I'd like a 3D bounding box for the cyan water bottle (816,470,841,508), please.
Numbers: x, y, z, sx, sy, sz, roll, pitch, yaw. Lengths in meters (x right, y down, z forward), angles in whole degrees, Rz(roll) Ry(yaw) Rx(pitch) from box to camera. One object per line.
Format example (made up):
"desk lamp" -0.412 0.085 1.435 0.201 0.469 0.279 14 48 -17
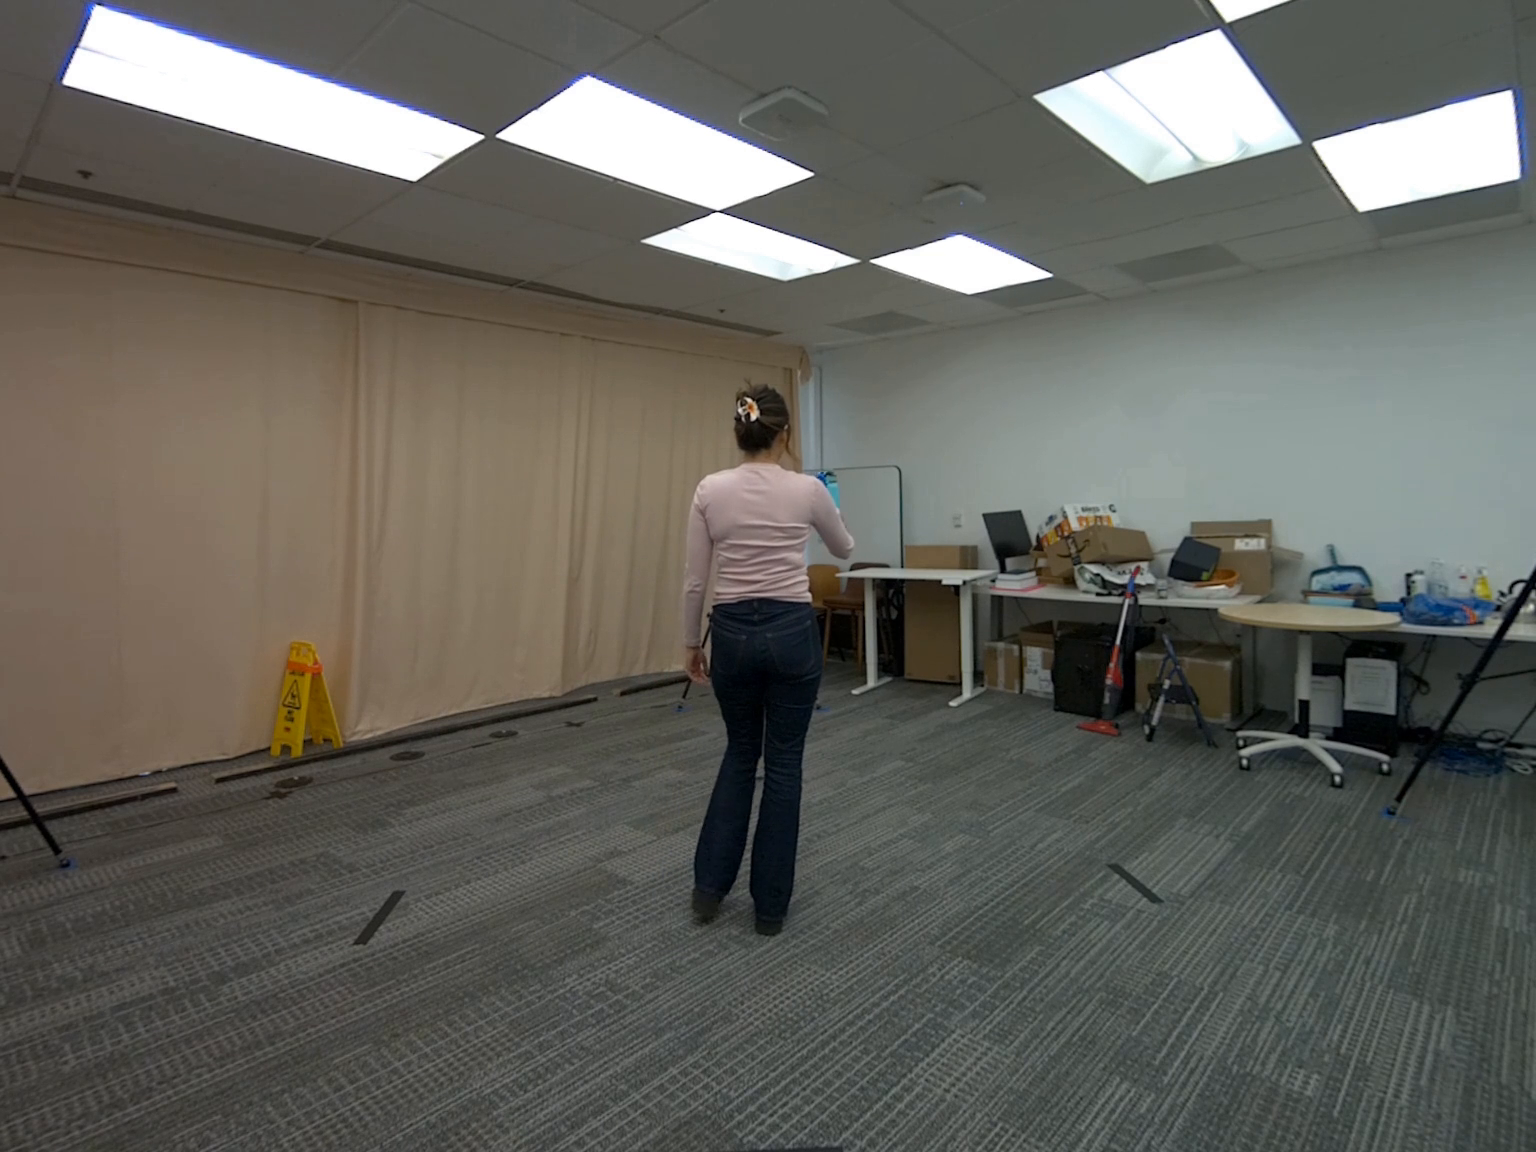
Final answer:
"cyan water bottle" 0.235 -0.274 3.251 0.092 0.282 0.093 -4 5 -1
